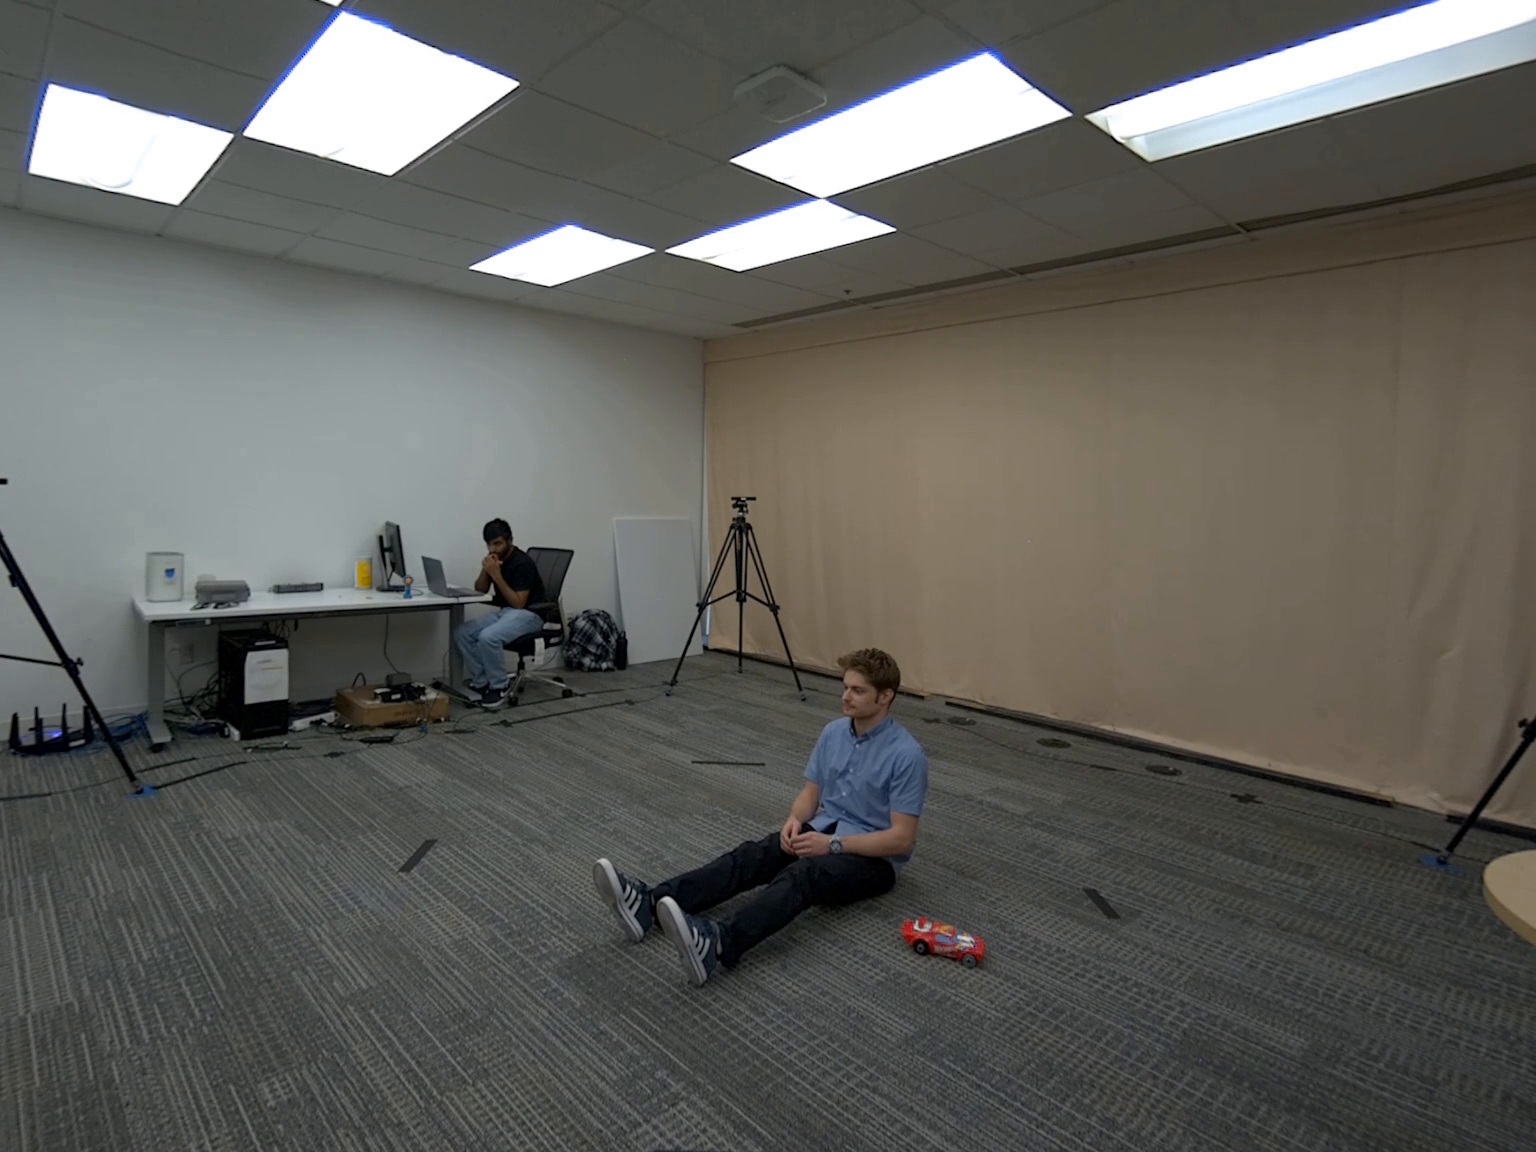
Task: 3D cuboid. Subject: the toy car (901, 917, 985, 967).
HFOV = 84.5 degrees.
[{"bbox_3d":[0.537,1.134,2.613,0.259,0.083,0.128,17,10,20],"label":"toy car"}]
